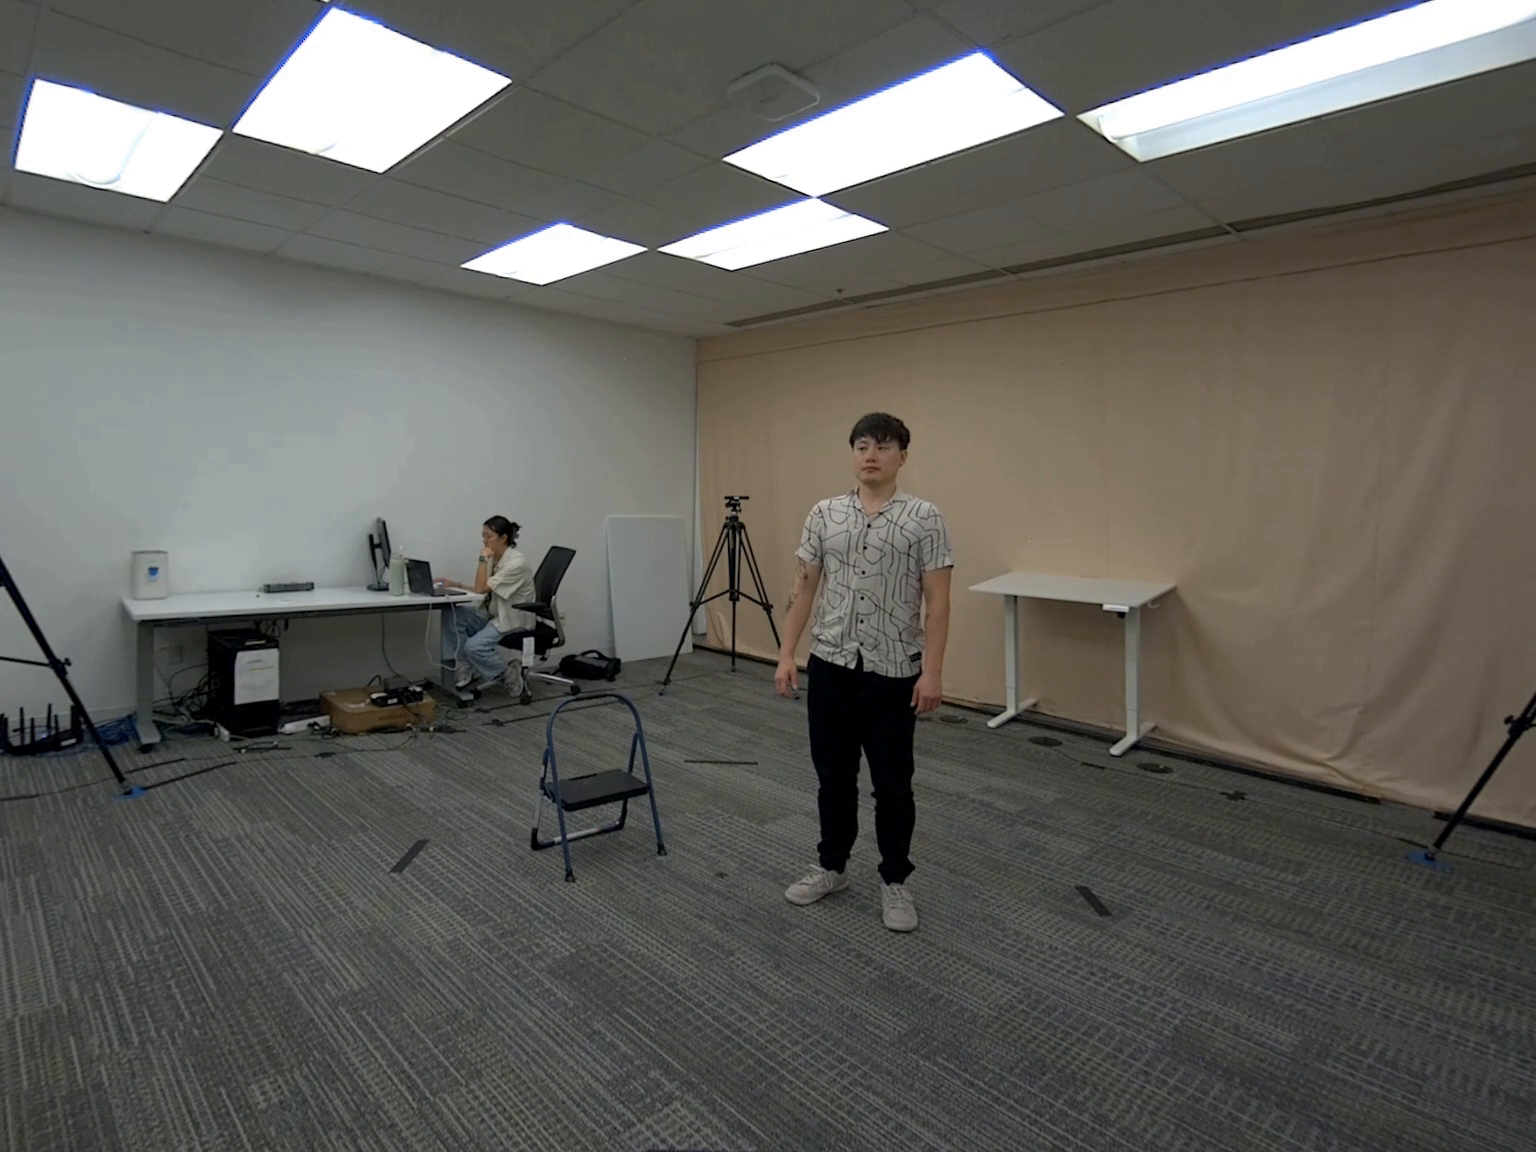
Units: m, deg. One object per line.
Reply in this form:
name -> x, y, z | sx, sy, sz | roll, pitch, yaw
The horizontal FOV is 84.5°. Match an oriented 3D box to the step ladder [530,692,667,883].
step ladder -> -0.658, 0.770, 3.267 | 0.421, 0.604, 0.358 | -2, 5, -39
